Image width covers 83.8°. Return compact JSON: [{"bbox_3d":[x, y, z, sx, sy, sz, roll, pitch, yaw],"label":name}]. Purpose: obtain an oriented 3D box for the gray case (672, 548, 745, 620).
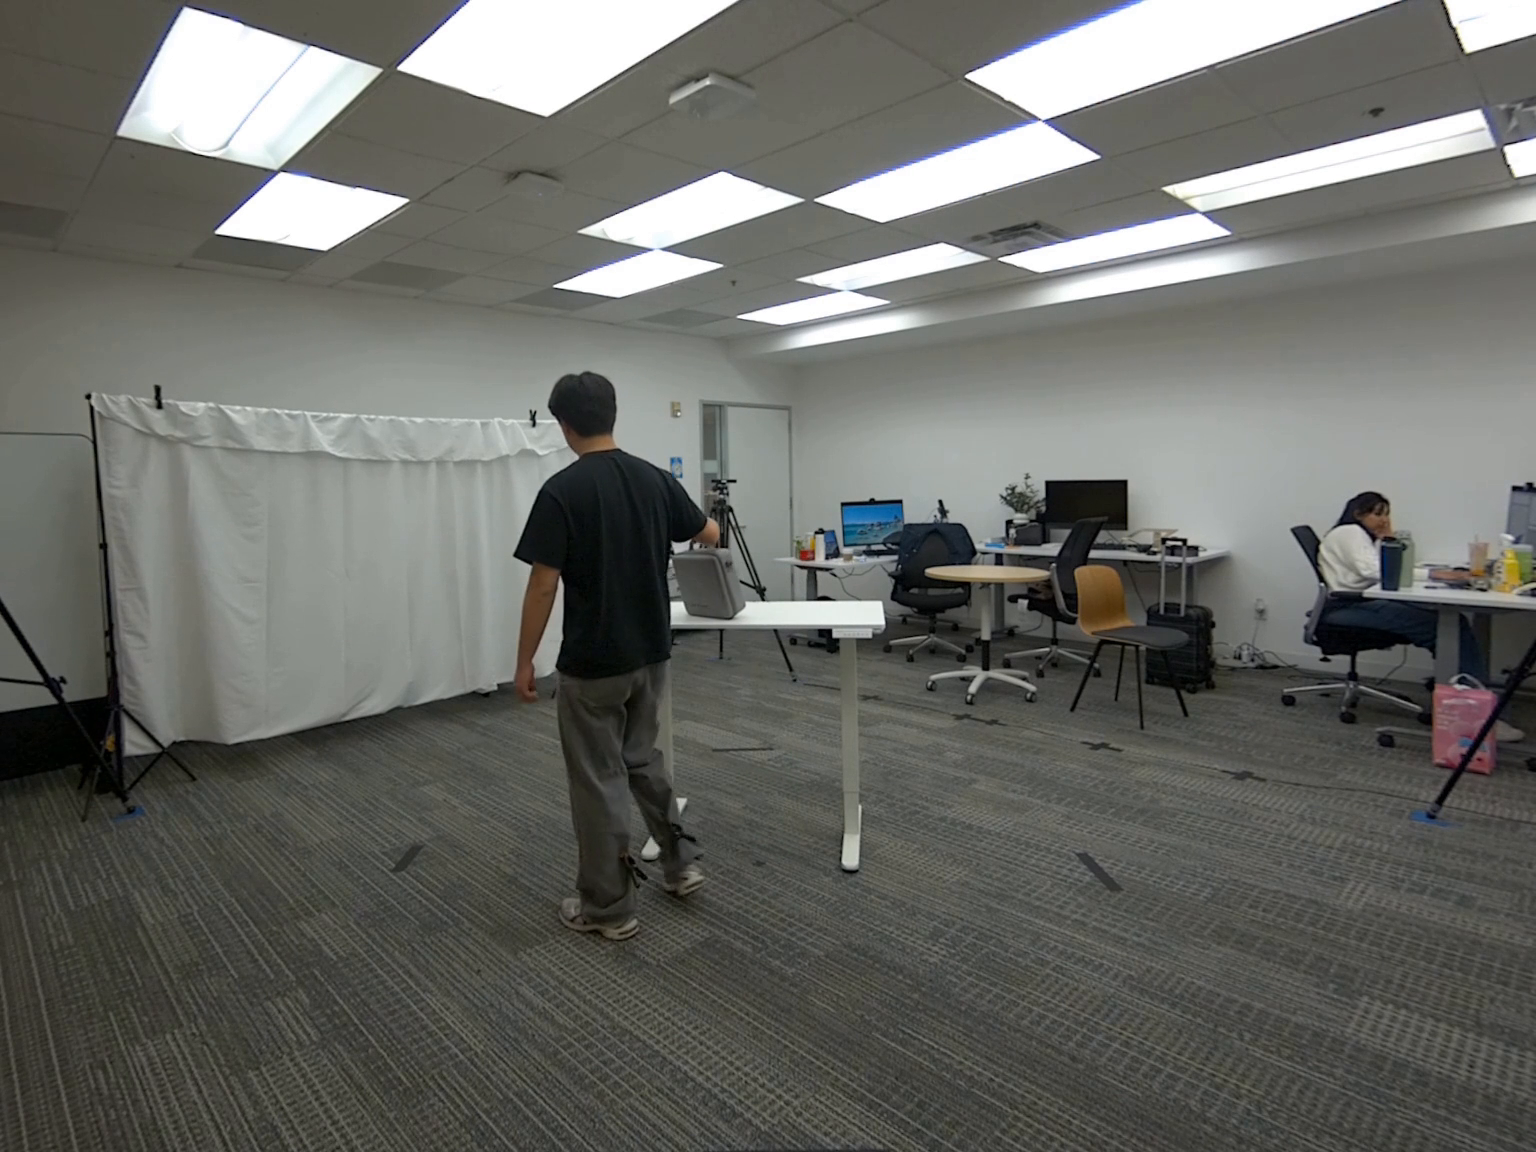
[{"bbox_3d":[-0.222,0.014,3.202,0.271,0.283,0.101,1,19,45],"label":"gray case"}]
